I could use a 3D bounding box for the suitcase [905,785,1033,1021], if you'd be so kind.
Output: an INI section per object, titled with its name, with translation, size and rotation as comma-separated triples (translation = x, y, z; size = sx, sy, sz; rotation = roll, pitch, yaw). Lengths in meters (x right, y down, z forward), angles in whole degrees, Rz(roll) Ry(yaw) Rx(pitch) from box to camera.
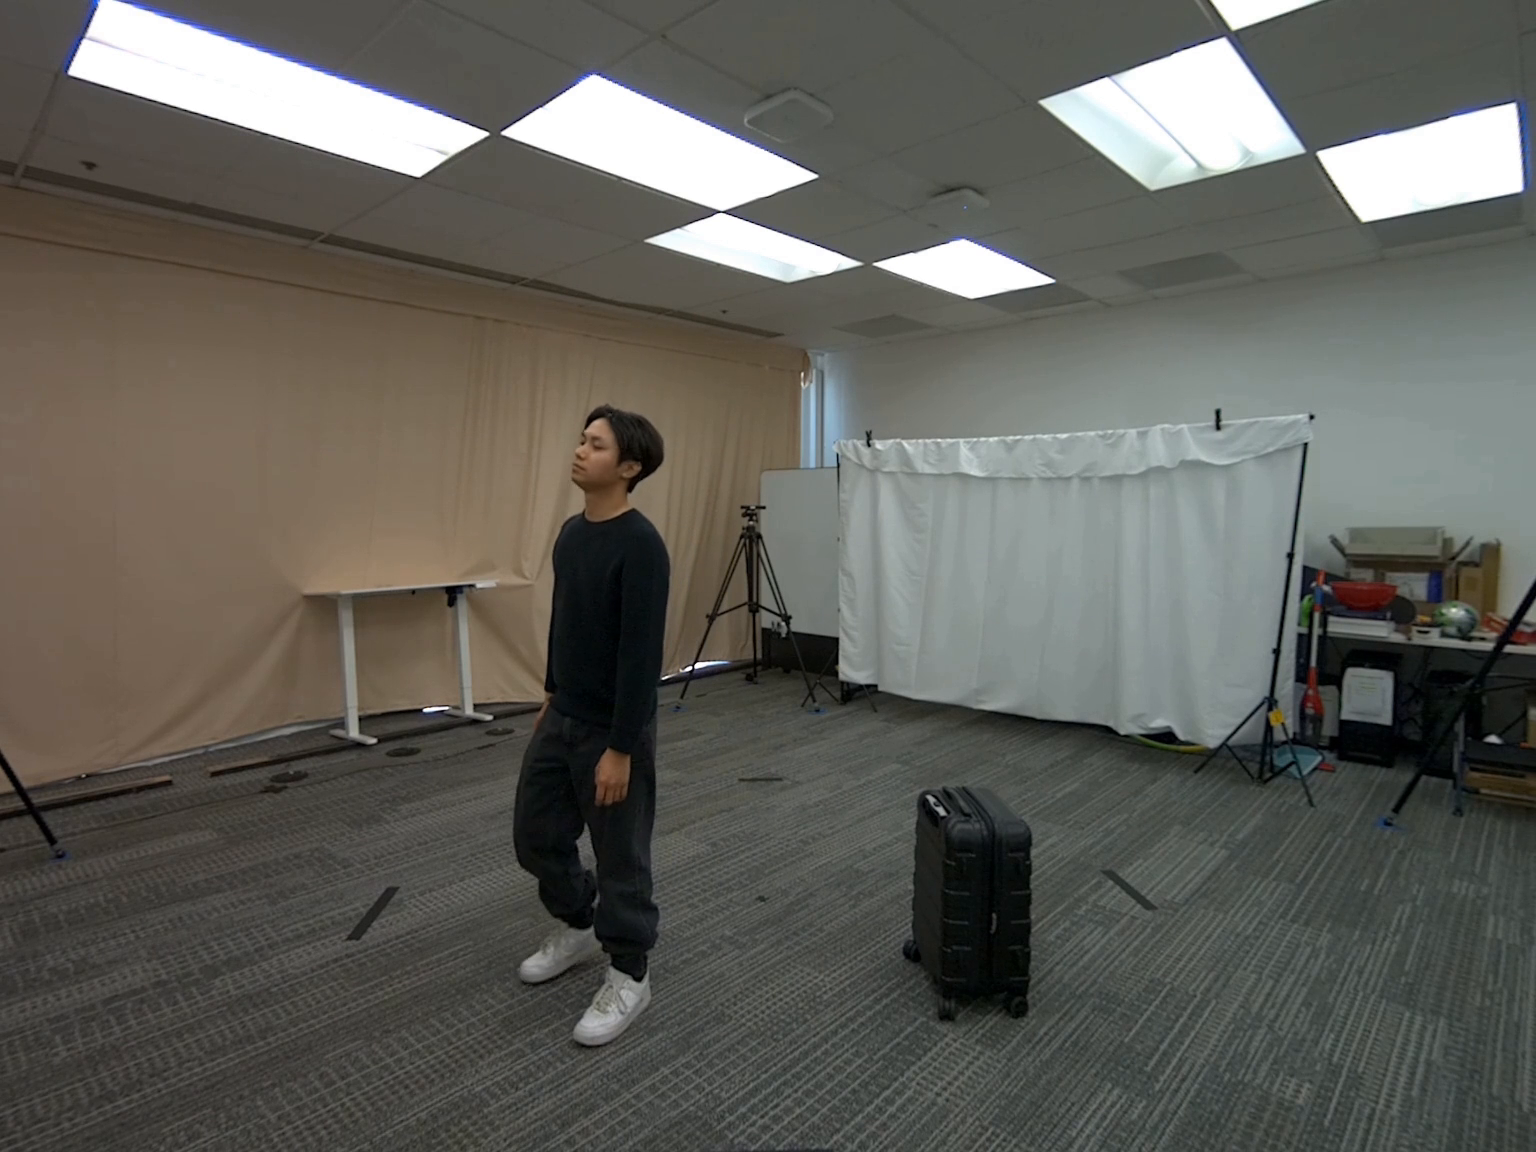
[suitcase]
translation = 0.597, 0.917, 2.439
size = 0.247, 0.548, 0.378
rotation = 0, 3, -5
